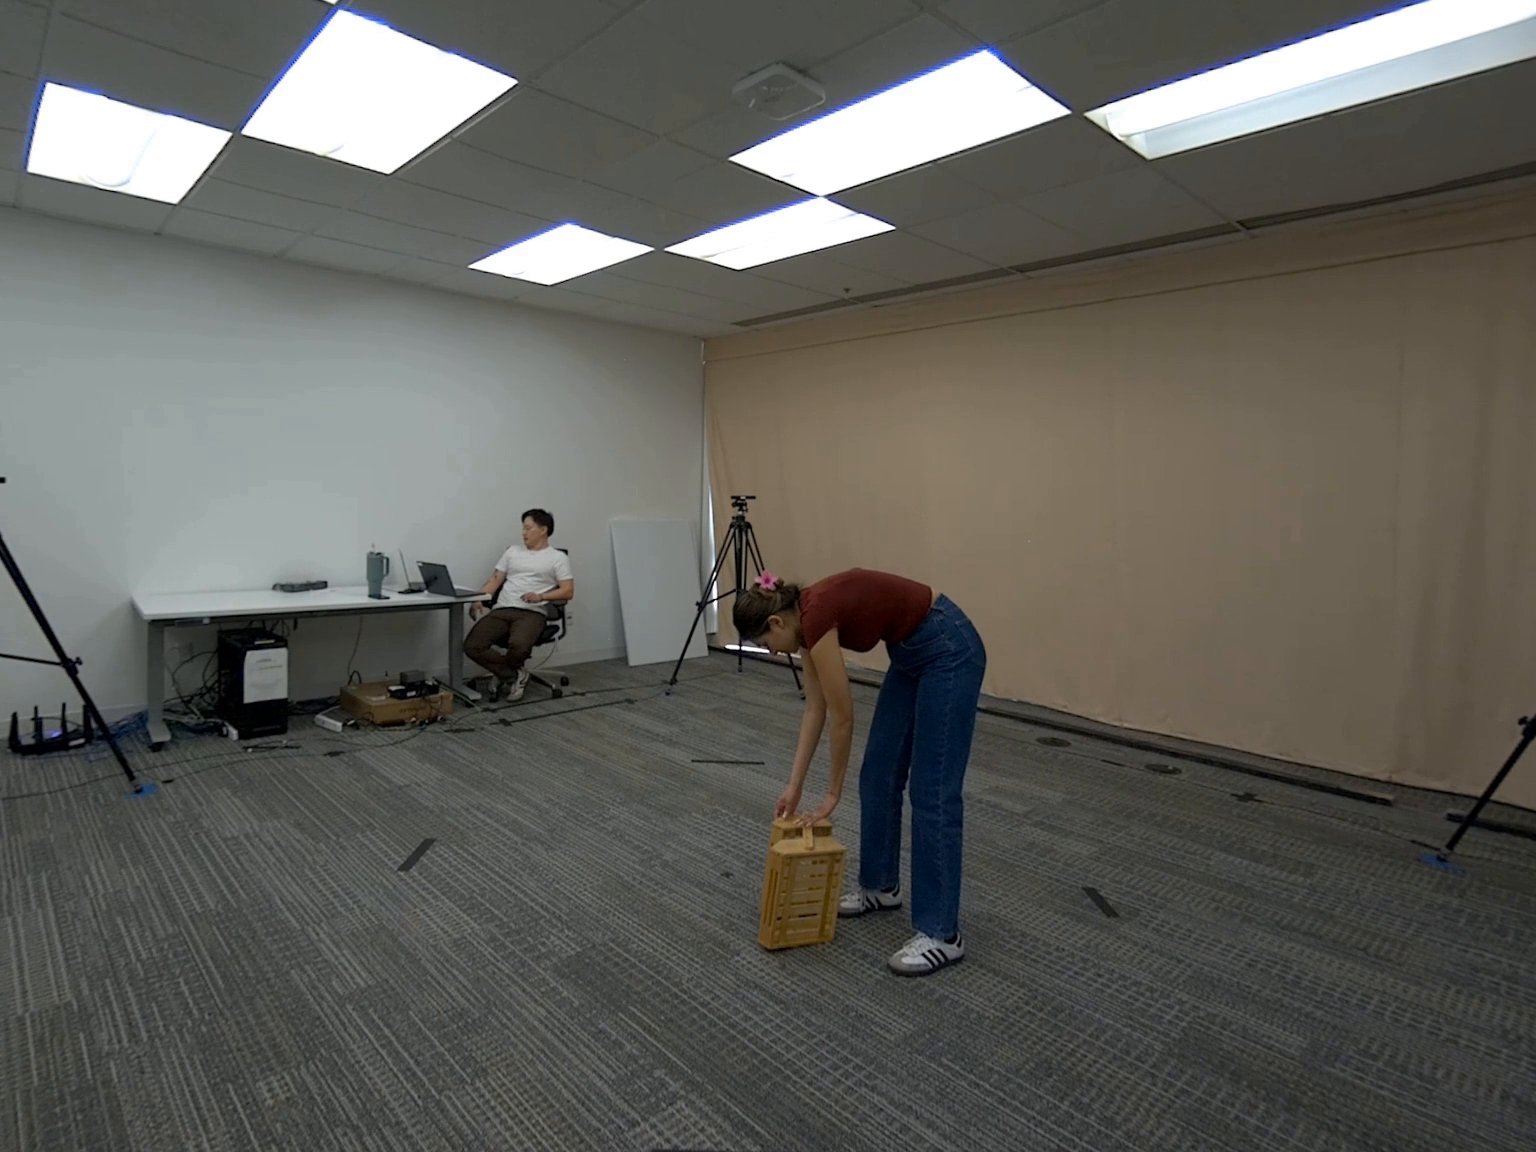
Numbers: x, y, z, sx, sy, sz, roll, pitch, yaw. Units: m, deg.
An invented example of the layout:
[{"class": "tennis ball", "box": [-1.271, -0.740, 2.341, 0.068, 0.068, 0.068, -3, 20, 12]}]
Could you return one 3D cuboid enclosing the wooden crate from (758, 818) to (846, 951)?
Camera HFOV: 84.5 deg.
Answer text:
[{"class": "wooden crate", "box": [0.075, 0.971, 2.724, 0.296, 0.324, 0.279, 5, 4, -26]}]
